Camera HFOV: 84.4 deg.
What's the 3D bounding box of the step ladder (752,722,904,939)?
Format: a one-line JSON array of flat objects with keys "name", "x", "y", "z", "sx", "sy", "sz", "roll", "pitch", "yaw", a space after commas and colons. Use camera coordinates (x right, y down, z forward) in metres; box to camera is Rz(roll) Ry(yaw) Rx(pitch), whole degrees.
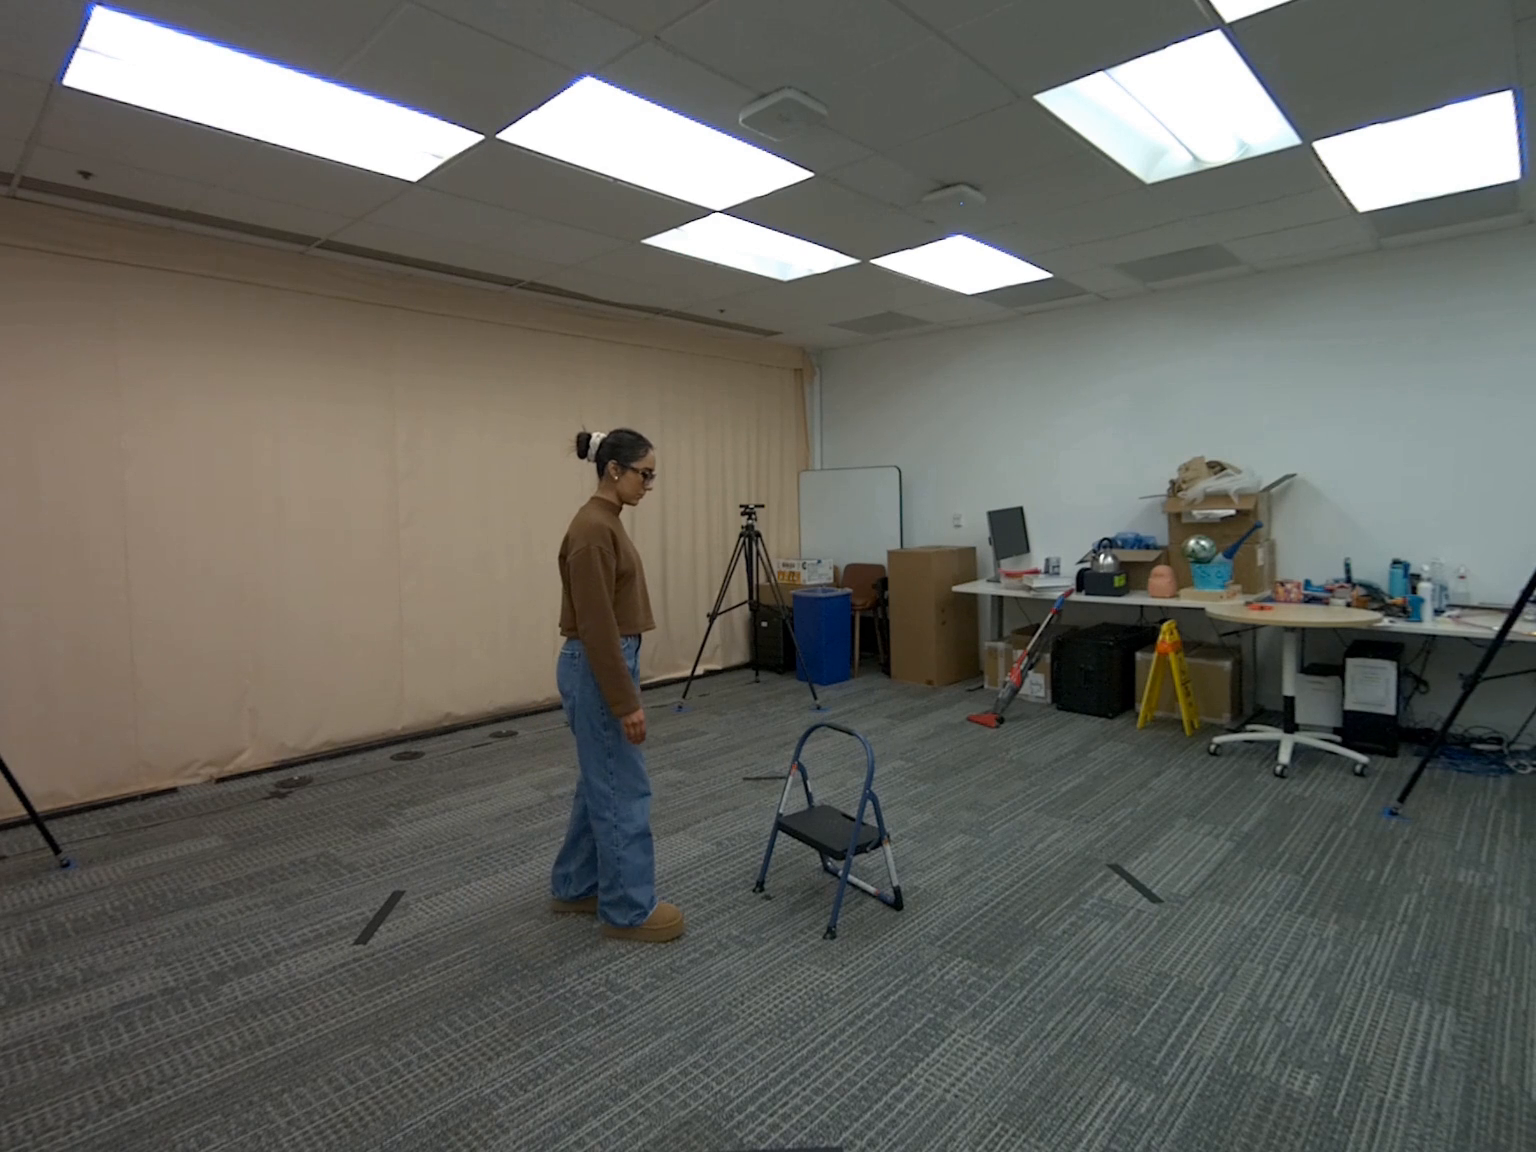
[{"name": "step ladder", "x": 0.207, "y": 0.836, "z": 2.938, "sx": 0.339, "sy": 0.605, "sz": 0.444, "roll": -3, "pitch": 4, "yaw": -35}]
